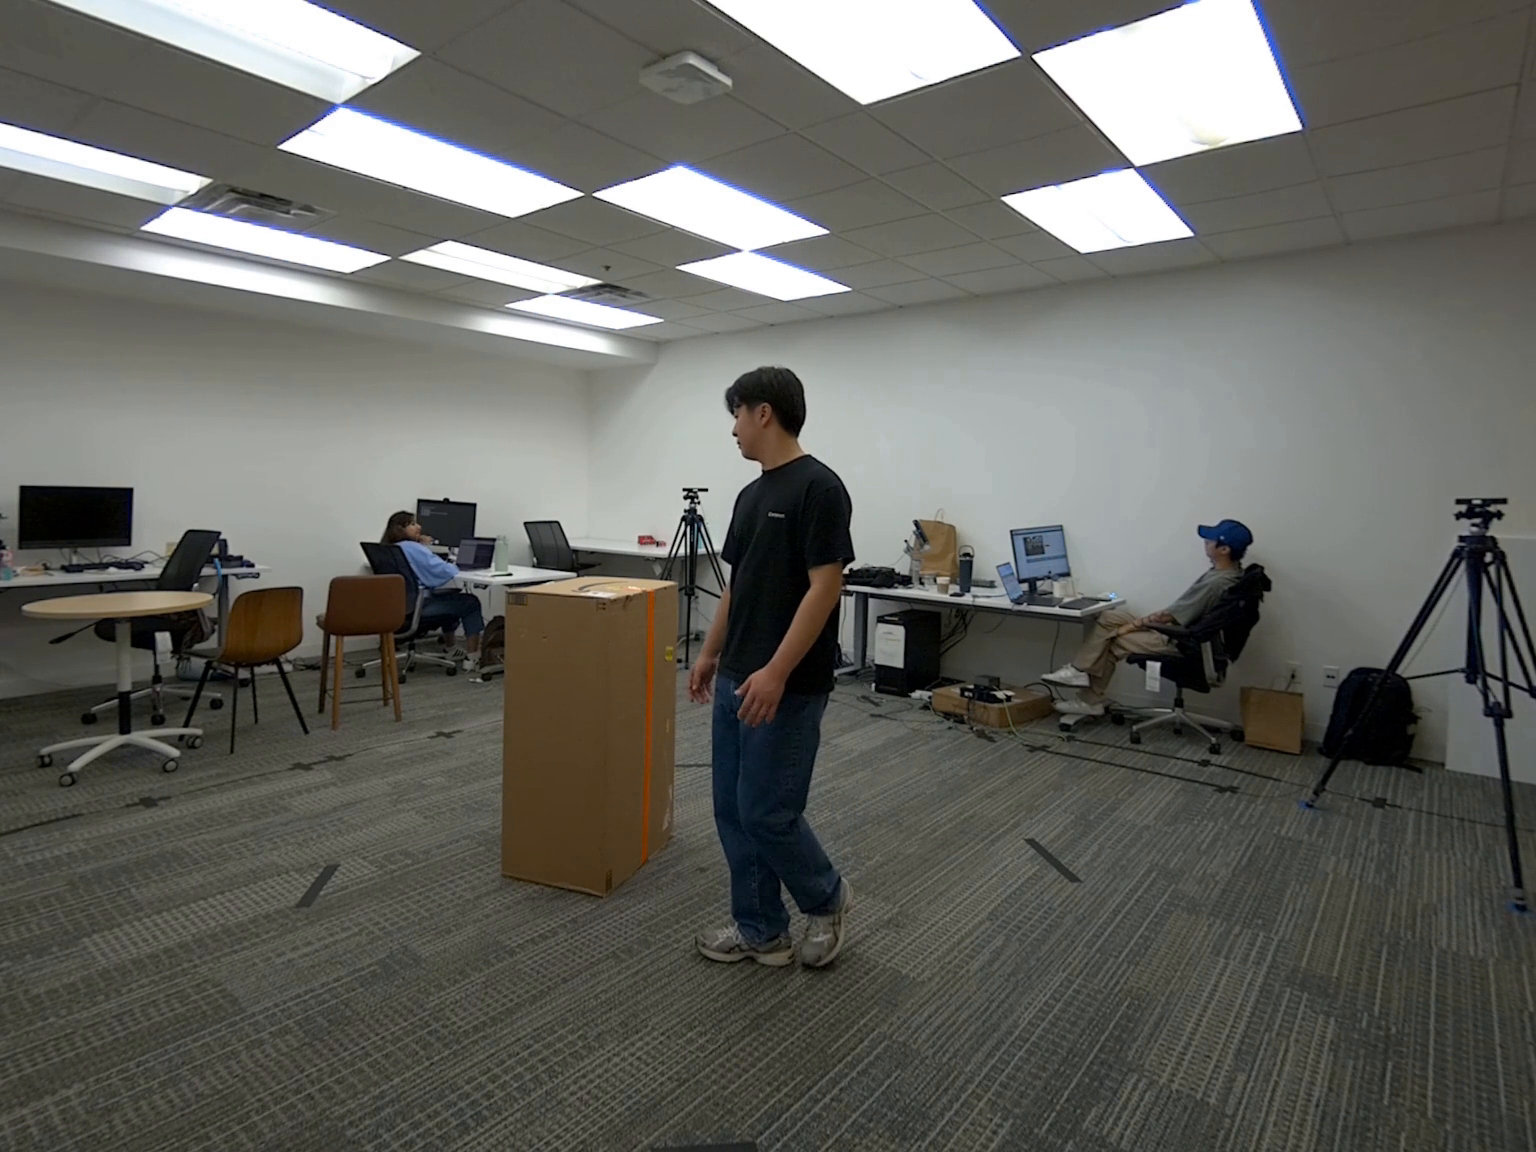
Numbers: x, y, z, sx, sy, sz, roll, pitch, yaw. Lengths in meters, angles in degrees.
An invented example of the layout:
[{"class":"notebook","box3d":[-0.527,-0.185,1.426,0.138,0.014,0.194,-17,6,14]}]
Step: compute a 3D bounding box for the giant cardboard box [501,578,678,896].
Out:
[{"class":"giant cardboard box","box3d":[-0.661,0.541,3.191,0.457,1.024,0.572,3,3,20]}]
